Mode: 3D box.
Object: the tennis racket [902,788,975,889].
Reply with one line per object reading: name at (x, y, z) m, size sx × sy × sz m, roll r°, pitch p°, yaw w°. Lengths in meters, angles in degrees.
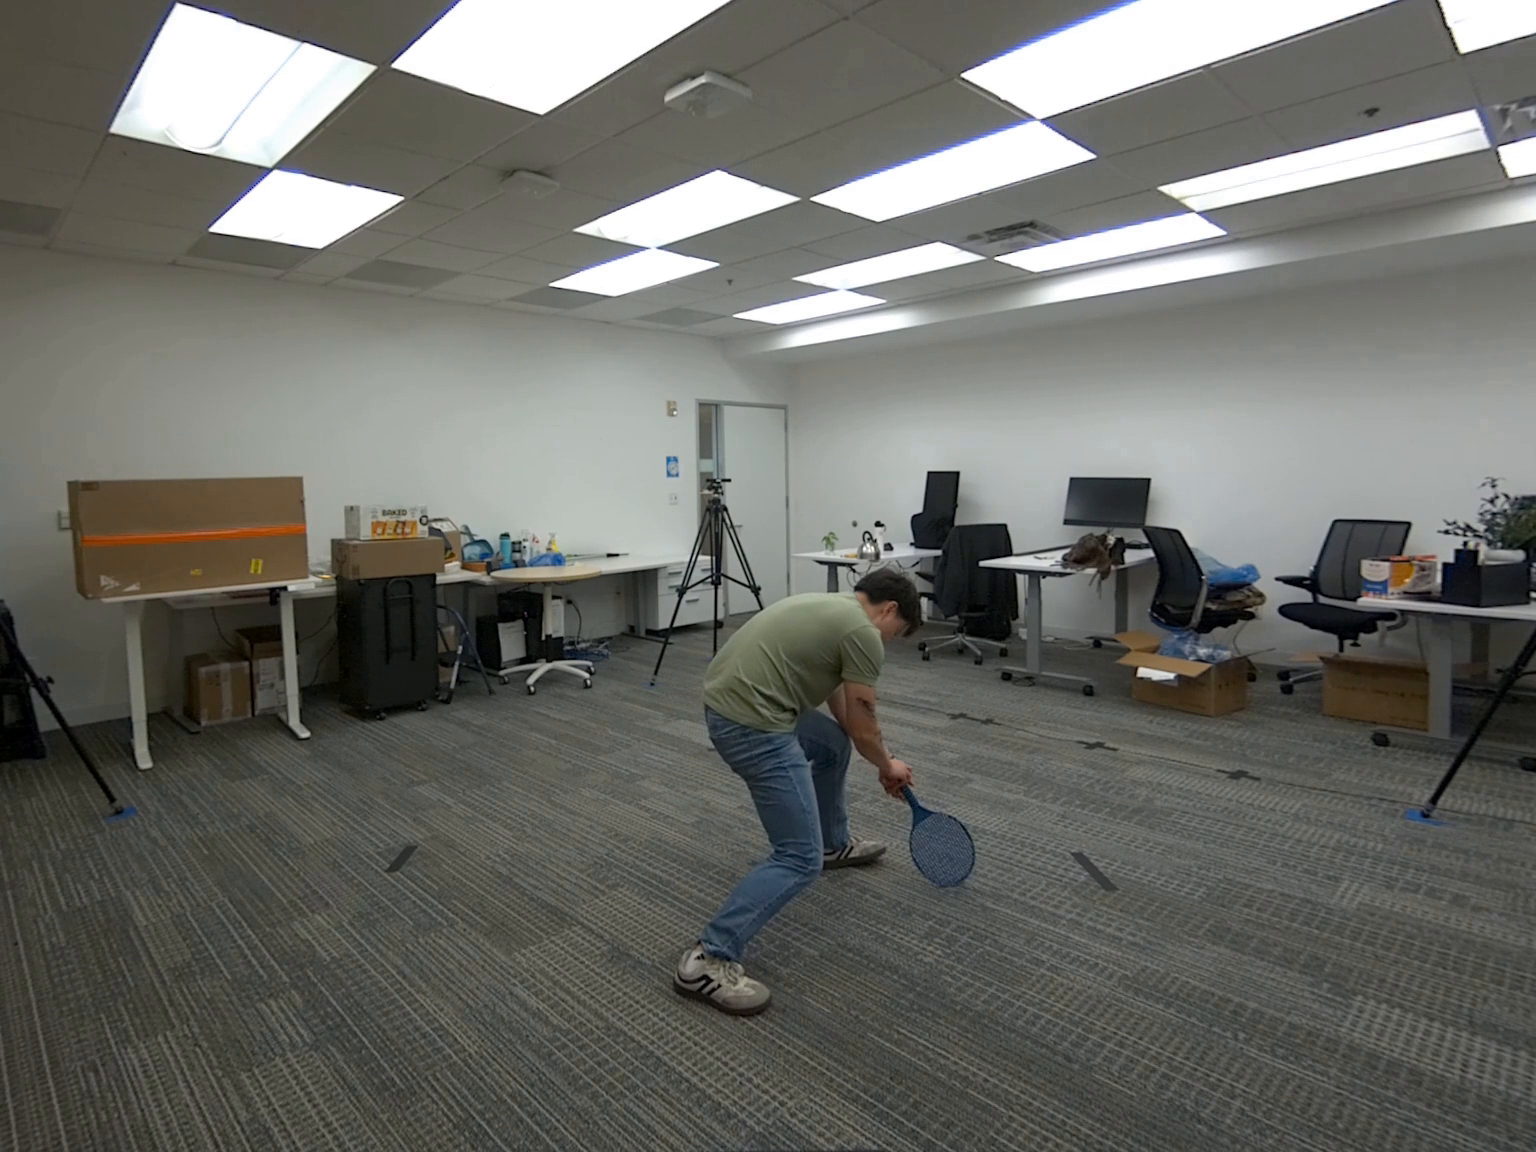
tennis racket at (0.561, 0.863, 2.896) m, size 0.214 × 0.432 × 0.032 m, roll -30°, pitch 2°, yaw 0°
